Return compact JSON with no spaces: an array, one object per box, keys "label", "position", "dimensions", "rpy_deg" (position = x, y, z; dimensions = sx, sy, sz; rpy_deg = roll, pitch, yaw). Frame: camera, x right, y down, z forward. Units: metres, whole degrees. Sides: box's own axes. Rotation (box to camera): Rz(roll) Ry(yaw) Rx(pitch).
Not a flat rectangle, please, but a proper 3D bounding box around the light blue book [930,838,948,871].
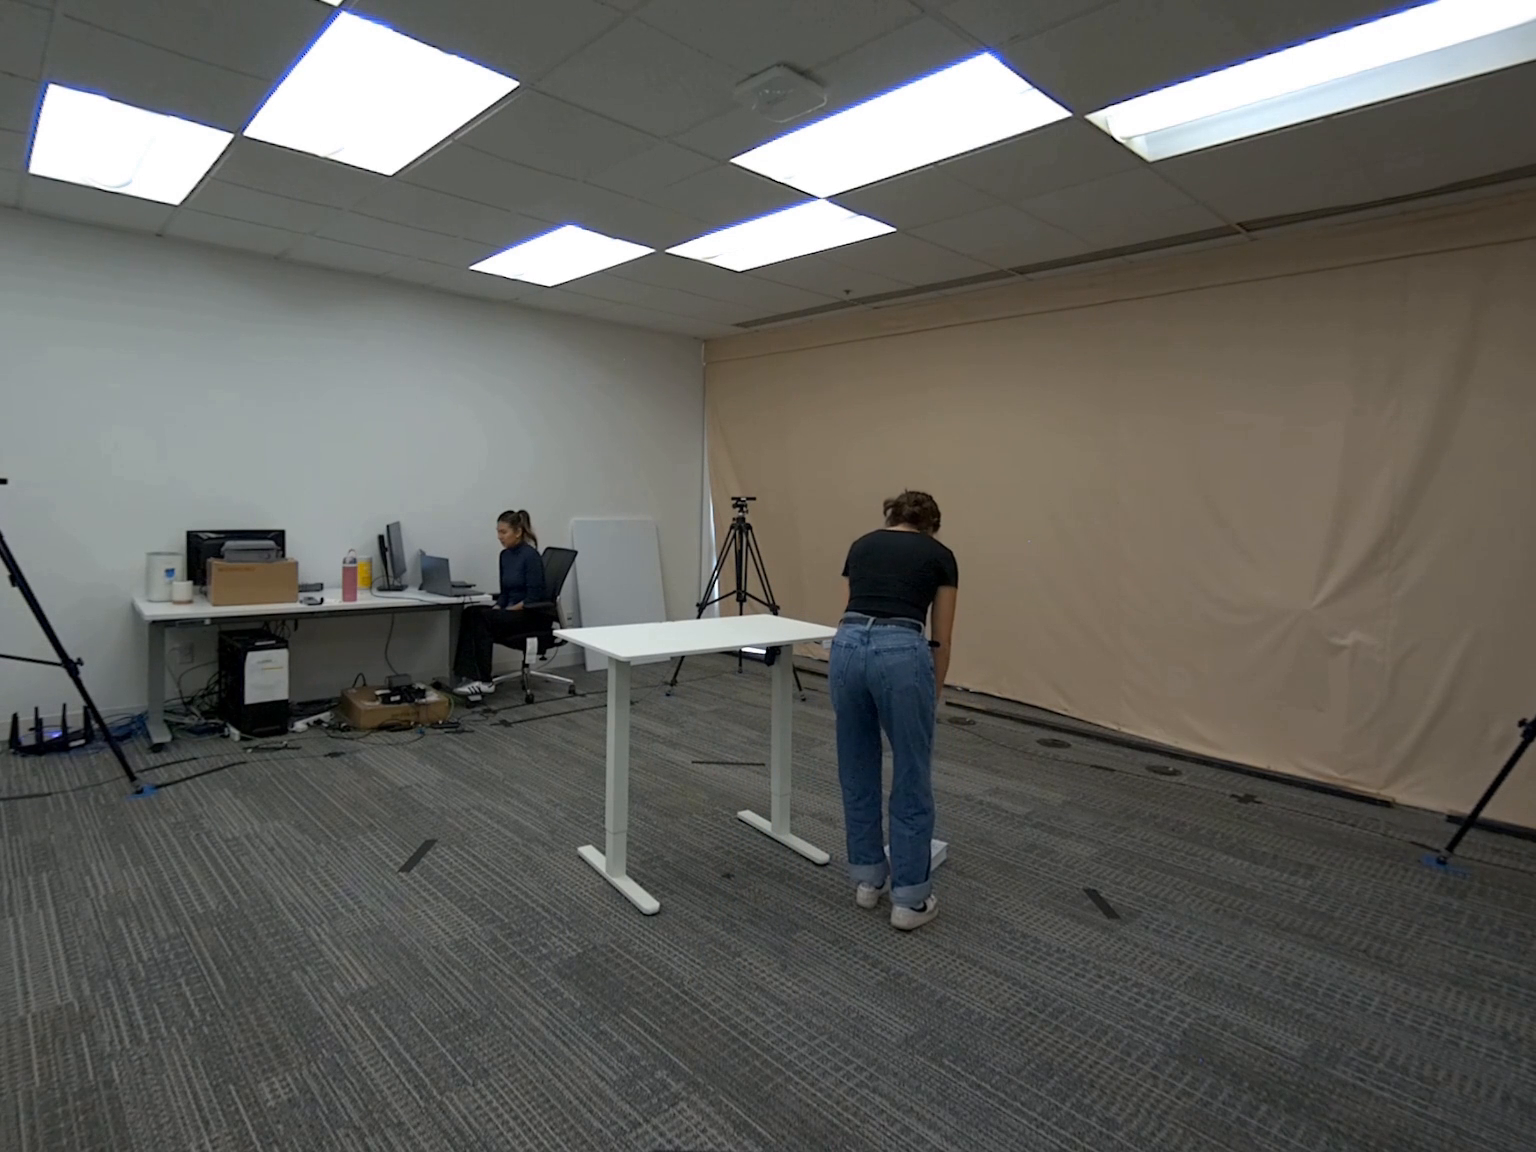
[{"label":"light blue book","position":[0.558,1.083,3.259],"dimensions":[0.196,0.059,0.256],"rpy_deg":[5,6,33]}]
